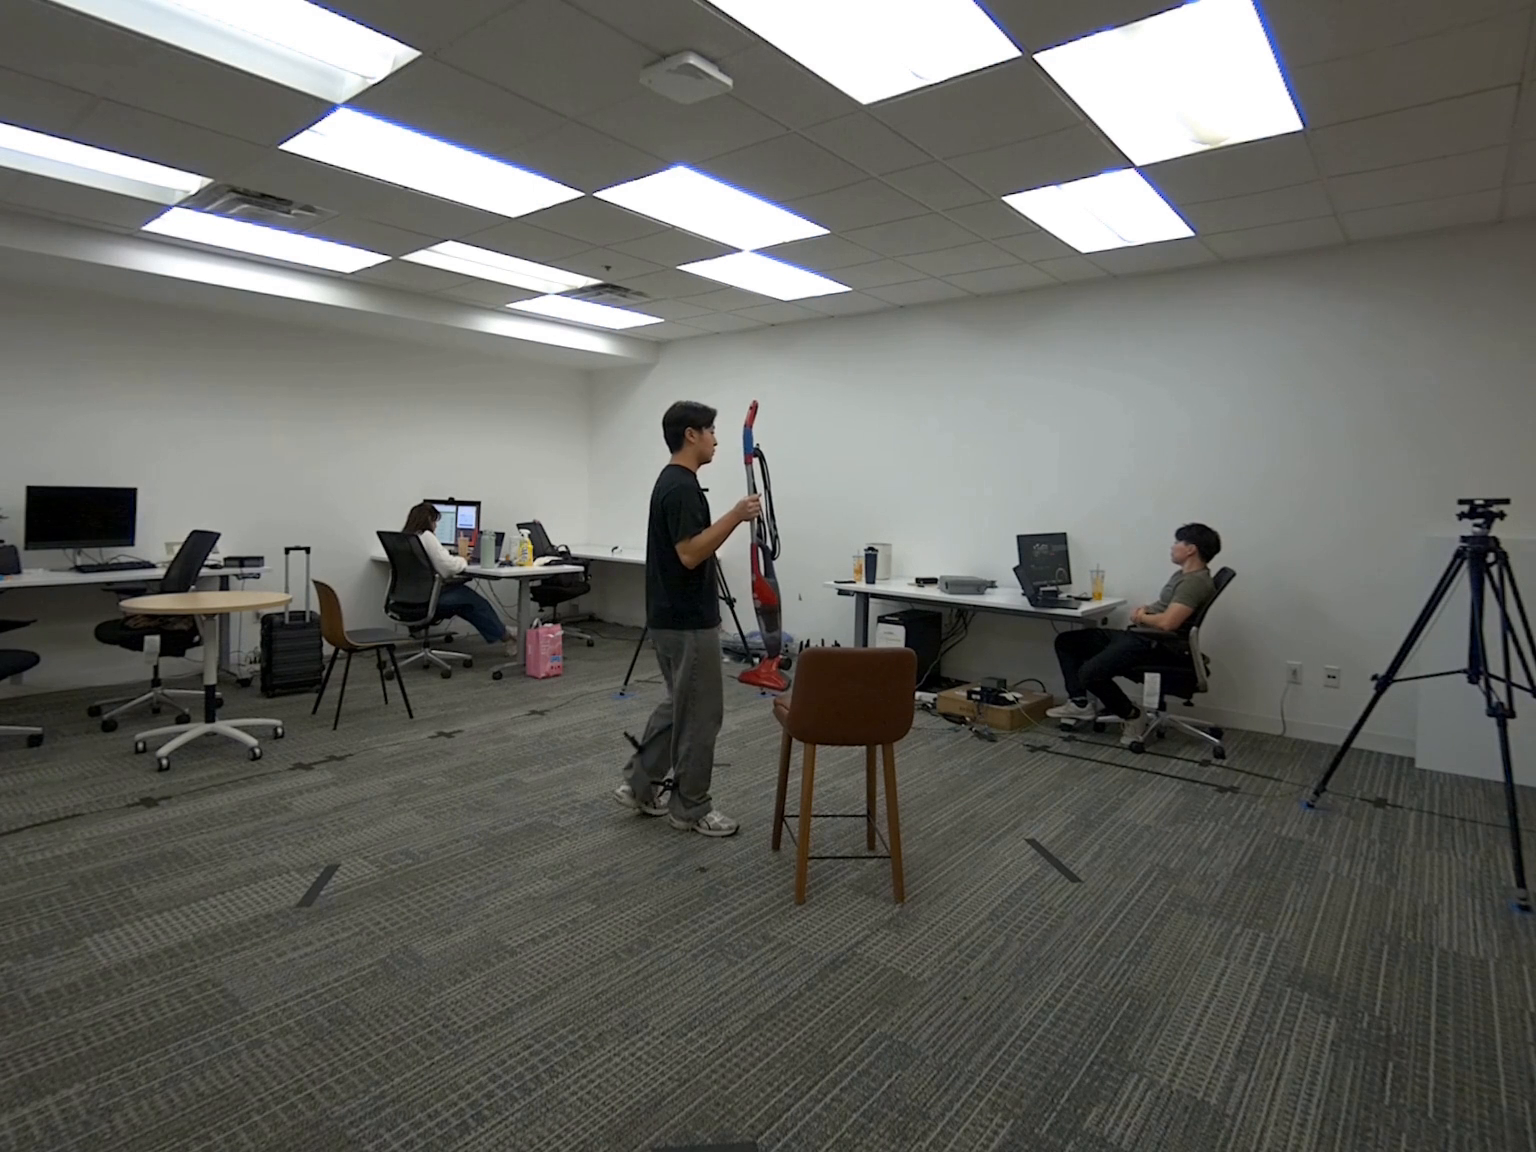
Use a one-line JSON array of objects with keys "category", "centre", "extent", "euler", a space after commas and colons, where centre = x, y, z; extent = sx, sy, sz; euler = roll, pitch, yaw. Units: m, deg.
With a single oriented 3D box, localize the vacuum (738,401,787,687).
[{"category": "vacuum", "centre": [-0.031, -0.146, 3.282], "extent": [0.260, 1.044, 0.140], "euler": [1, 6, 36]}]
